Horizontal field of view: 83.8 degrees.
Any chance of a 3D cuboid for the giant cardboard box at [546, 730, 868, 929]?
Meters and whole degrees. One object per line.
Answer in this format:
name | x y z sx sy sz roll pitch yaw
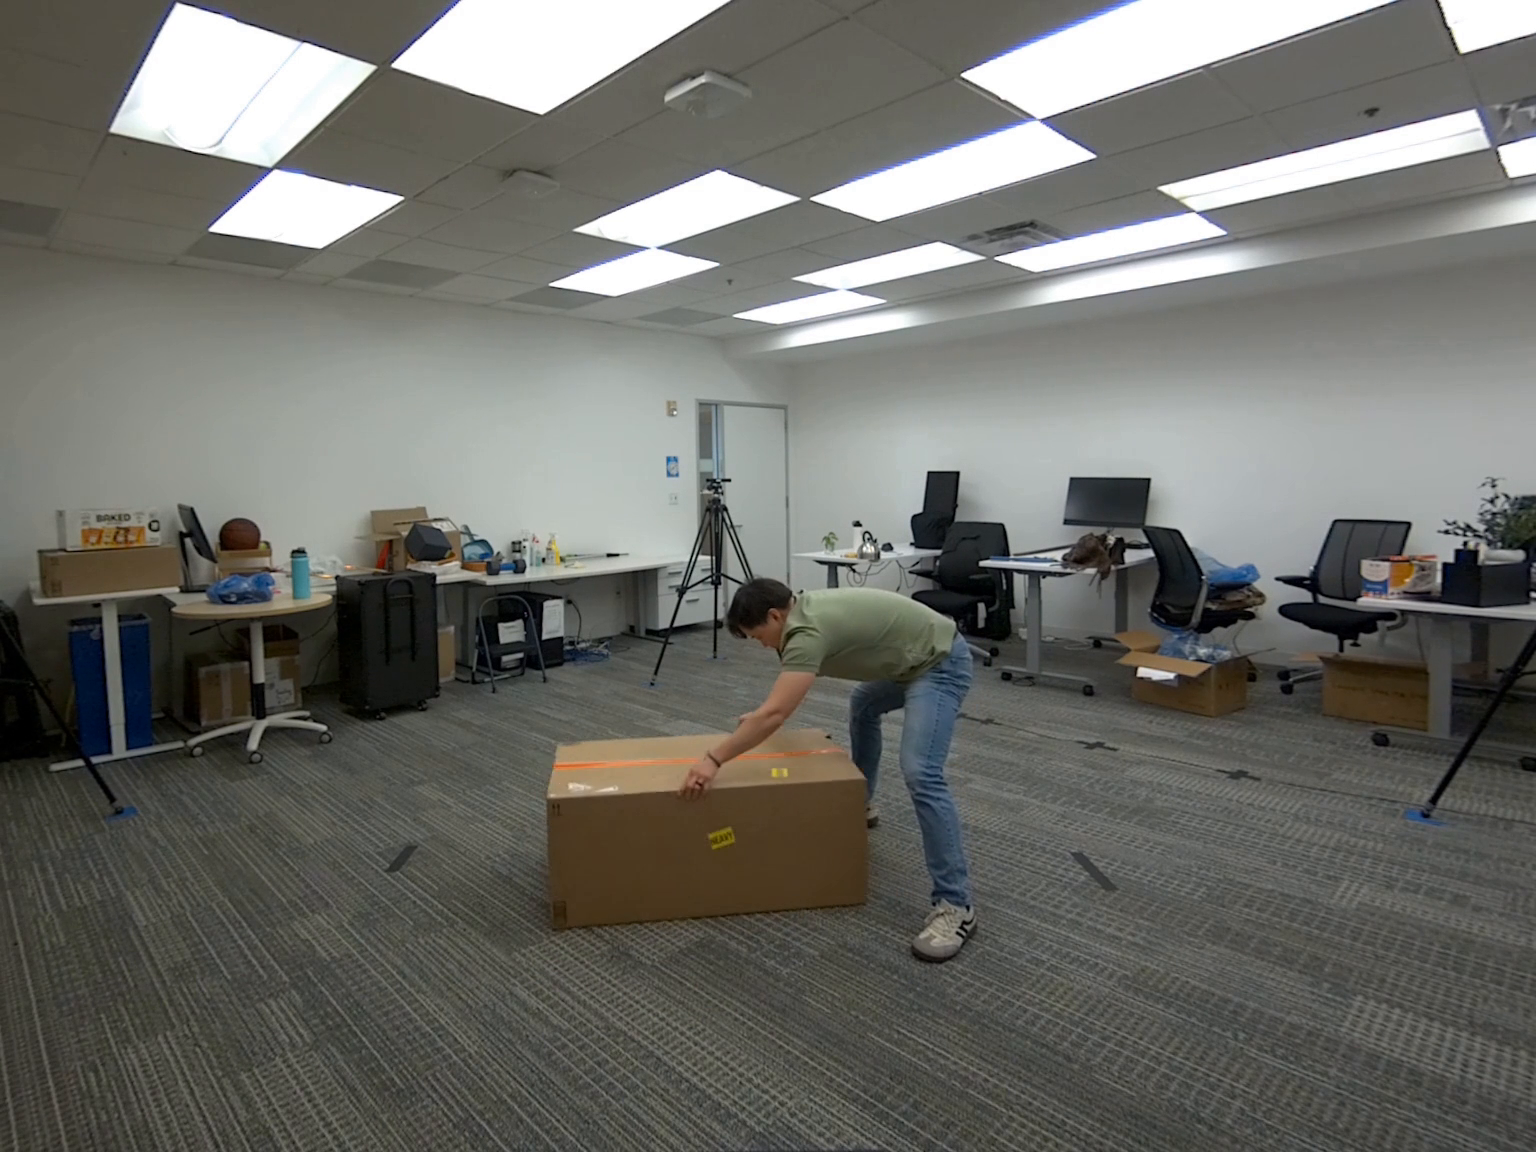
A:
giant cardboard box | -0.227 0.843 2.996 1.018 0.424 0.584 -1 6 -8
